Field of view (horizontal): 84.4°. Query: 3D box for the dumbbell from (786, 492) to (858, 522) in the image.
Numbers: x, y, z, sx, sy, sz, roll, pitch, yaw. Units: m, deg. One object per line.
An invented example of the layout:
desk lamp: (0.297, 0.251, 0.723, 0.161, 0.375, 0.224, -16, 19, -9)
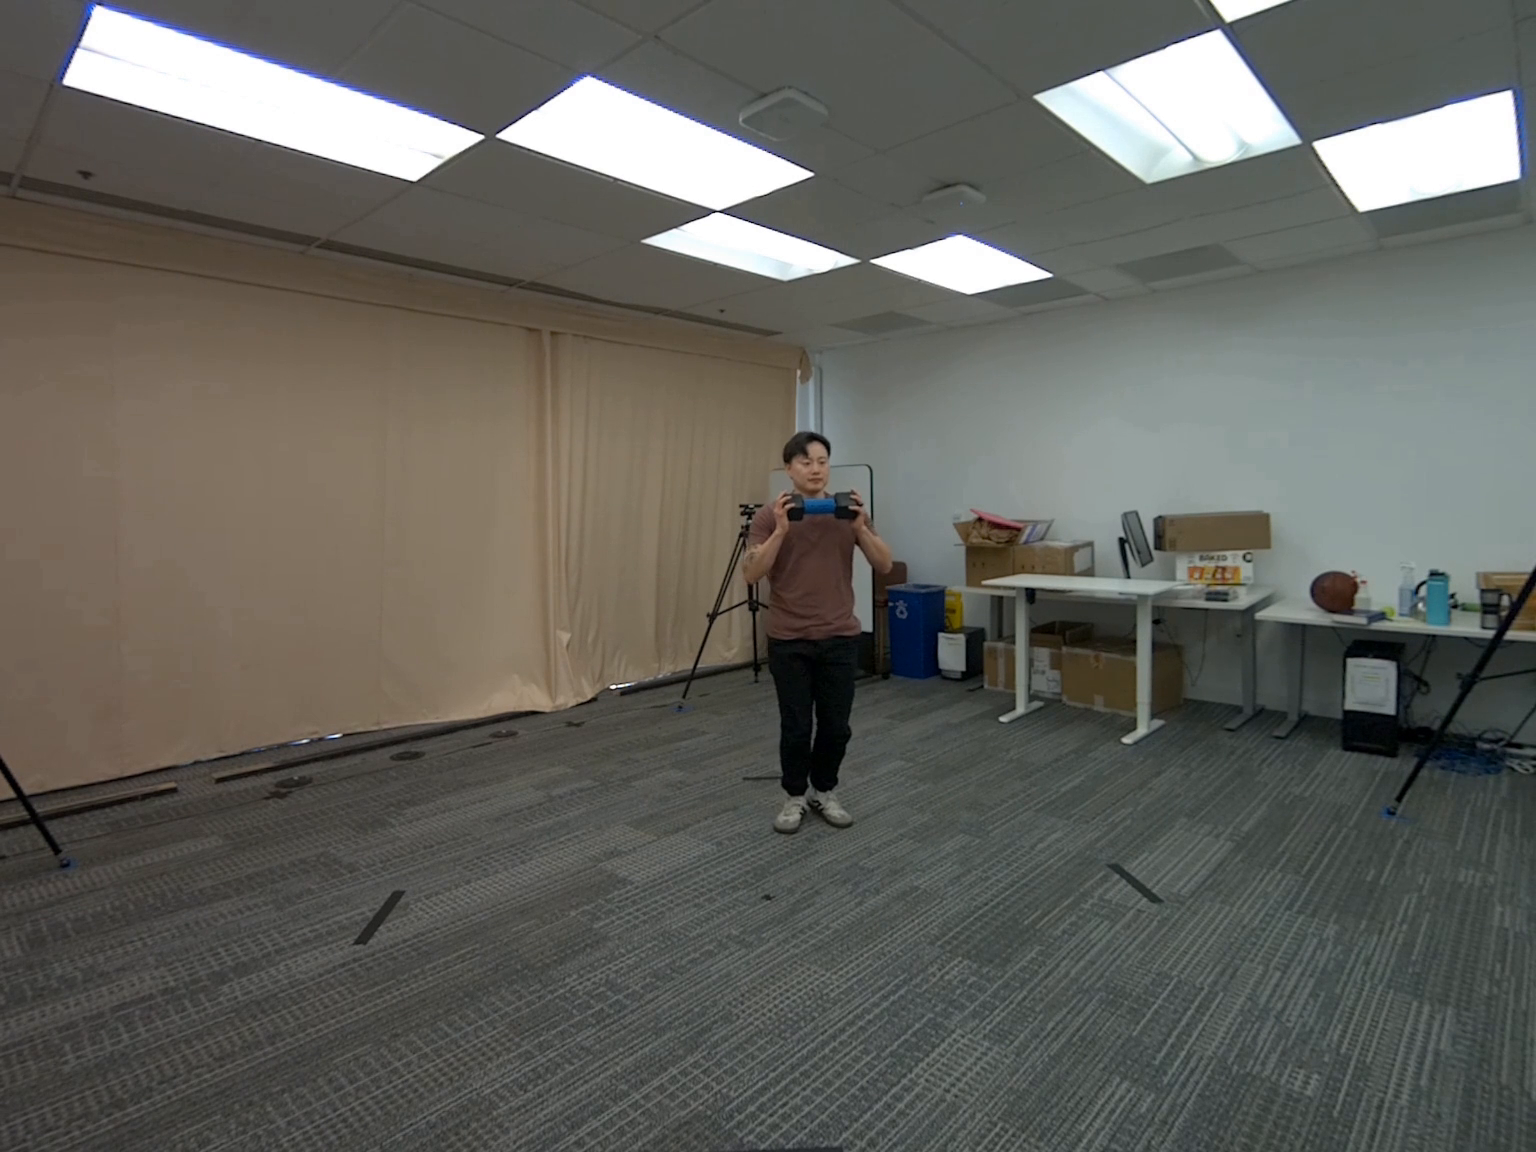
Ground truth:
dumbbell: (0.208, -0.271, 3.376, 0.294, 0.108, 0.123, -2, 3, 0)
